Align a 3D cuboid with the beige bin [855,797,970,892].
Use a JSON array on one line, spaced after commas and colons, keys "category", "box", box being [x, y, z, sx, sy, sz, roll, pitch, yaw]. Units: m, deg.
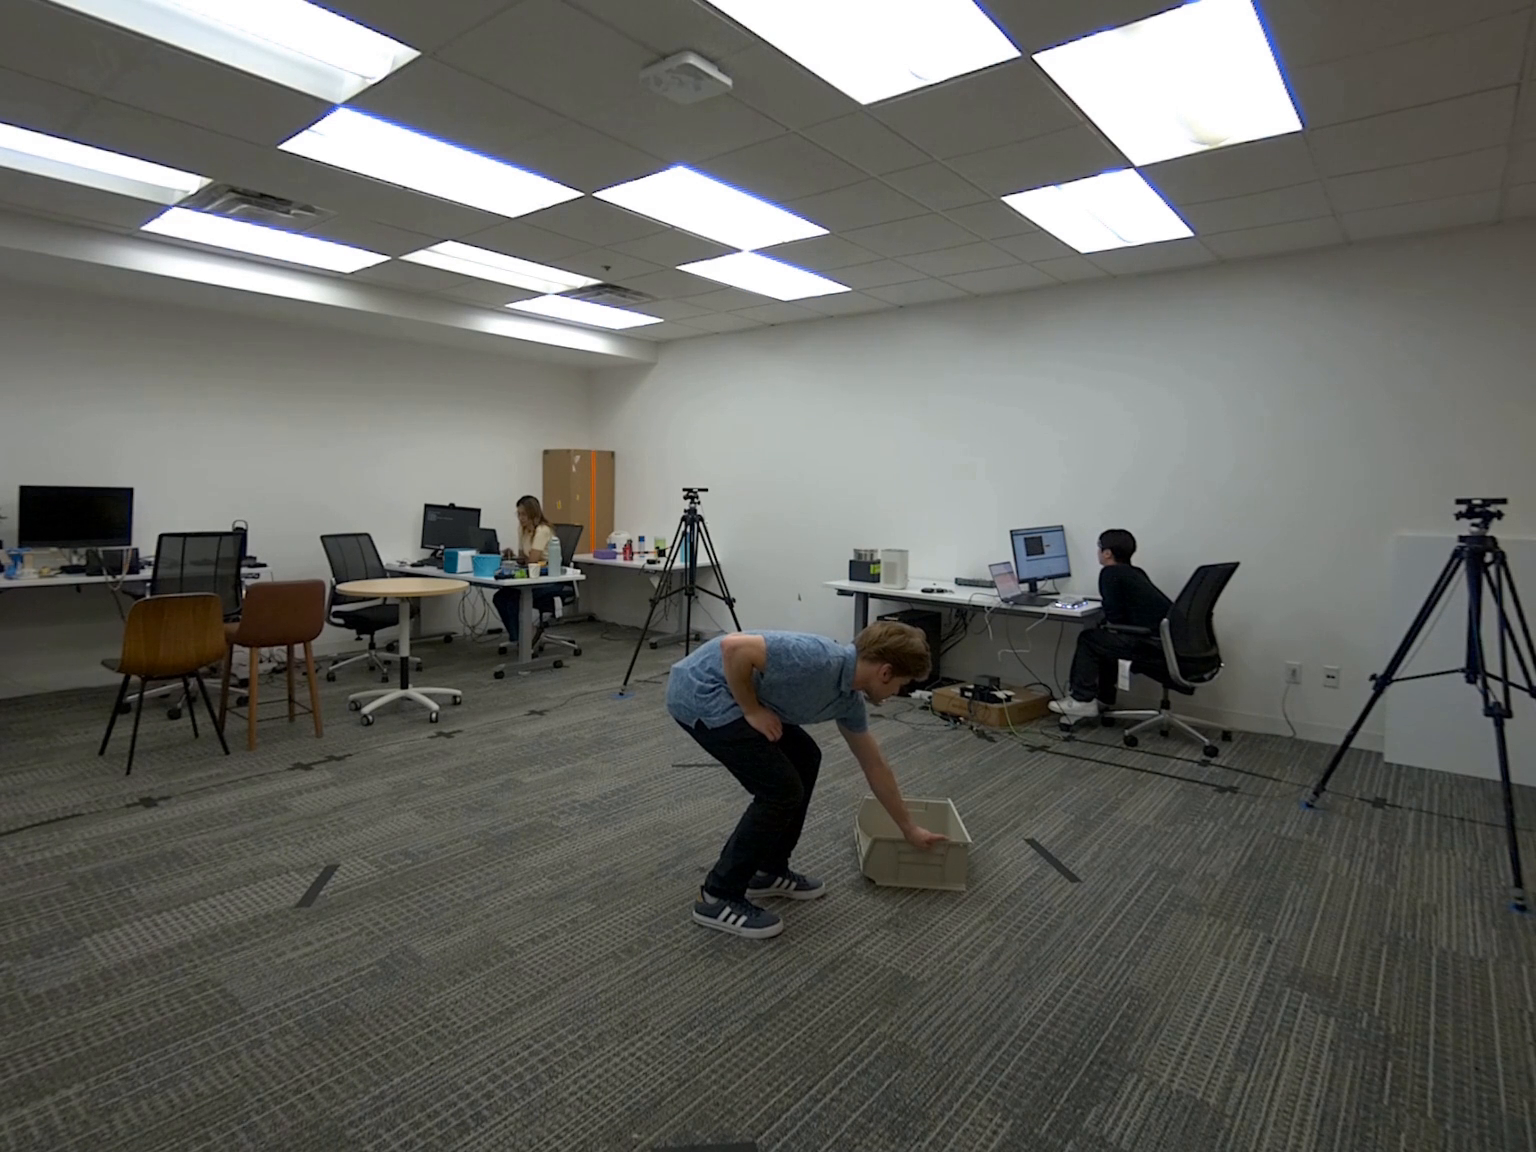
[{"category": "beige bin", "box": [0.524, 0.988, 3.200, 0.379, 0.188, 0.422, 2, 5, 3]}]
